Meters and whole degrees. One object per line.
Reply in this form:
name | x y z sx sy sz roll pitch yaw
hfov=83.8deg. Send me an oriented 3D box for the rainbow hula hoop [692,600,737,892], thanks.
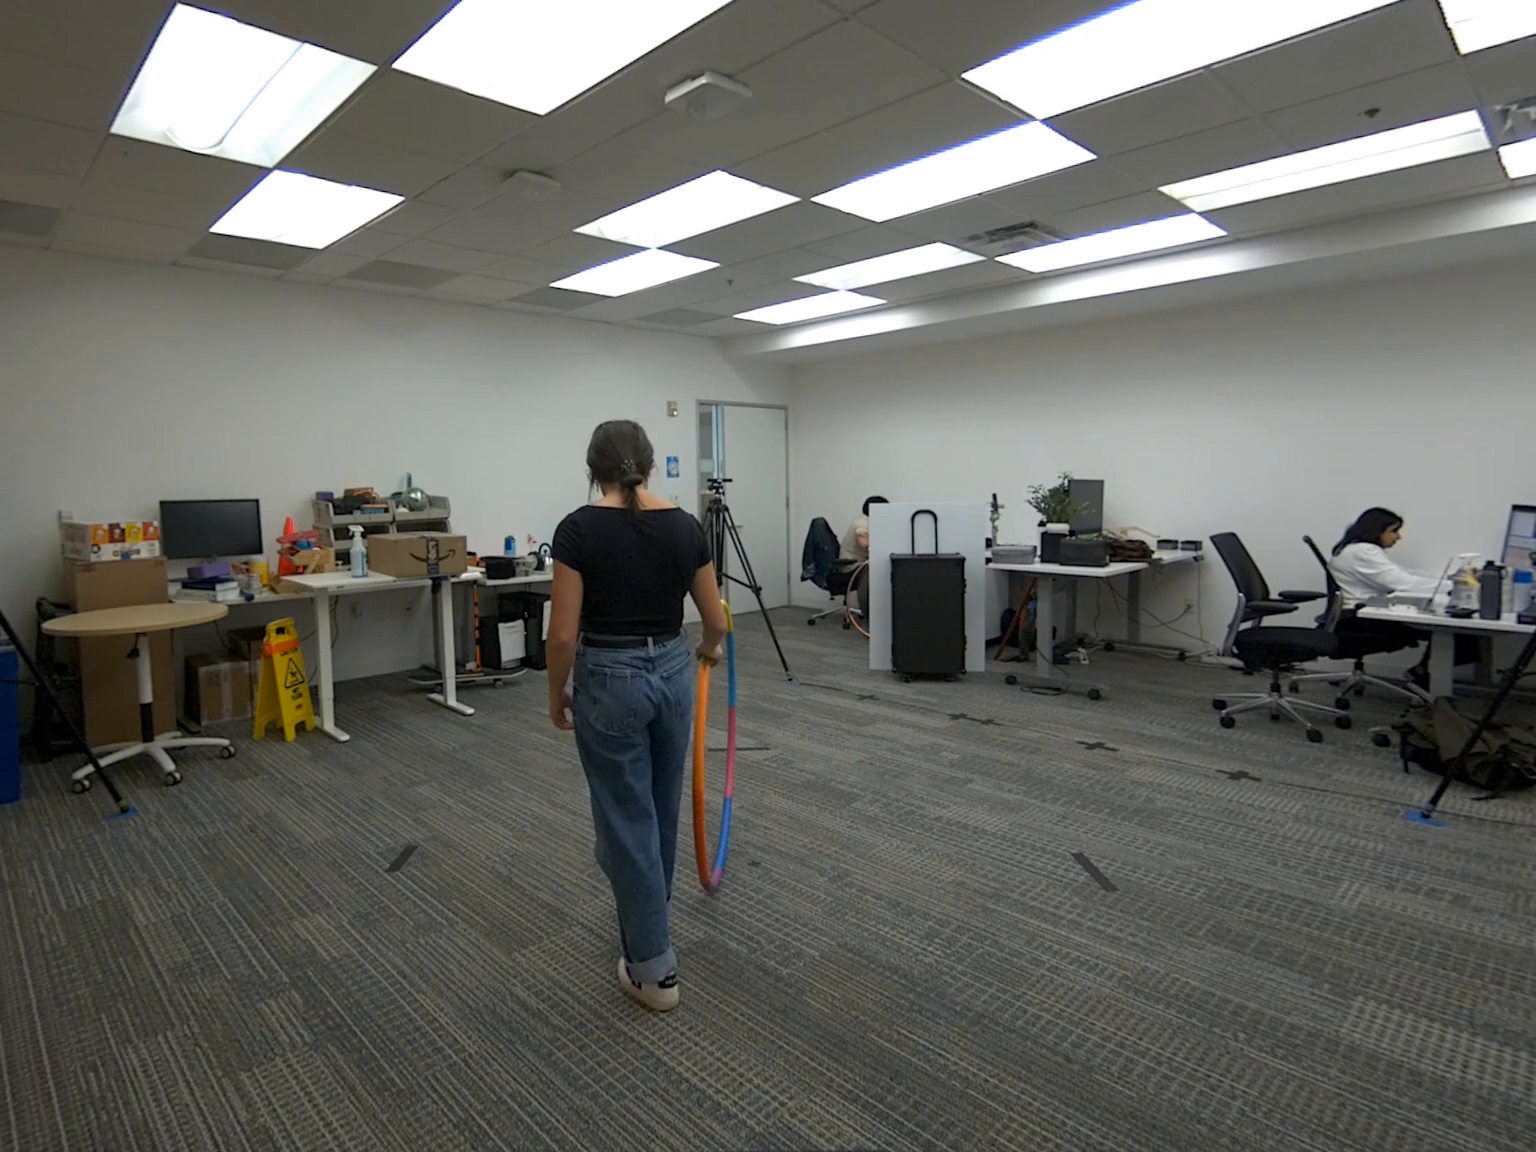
rainbow hula hoop | -0.172 0.577 3.002 0.036 0.975 0.979 1 5 2
